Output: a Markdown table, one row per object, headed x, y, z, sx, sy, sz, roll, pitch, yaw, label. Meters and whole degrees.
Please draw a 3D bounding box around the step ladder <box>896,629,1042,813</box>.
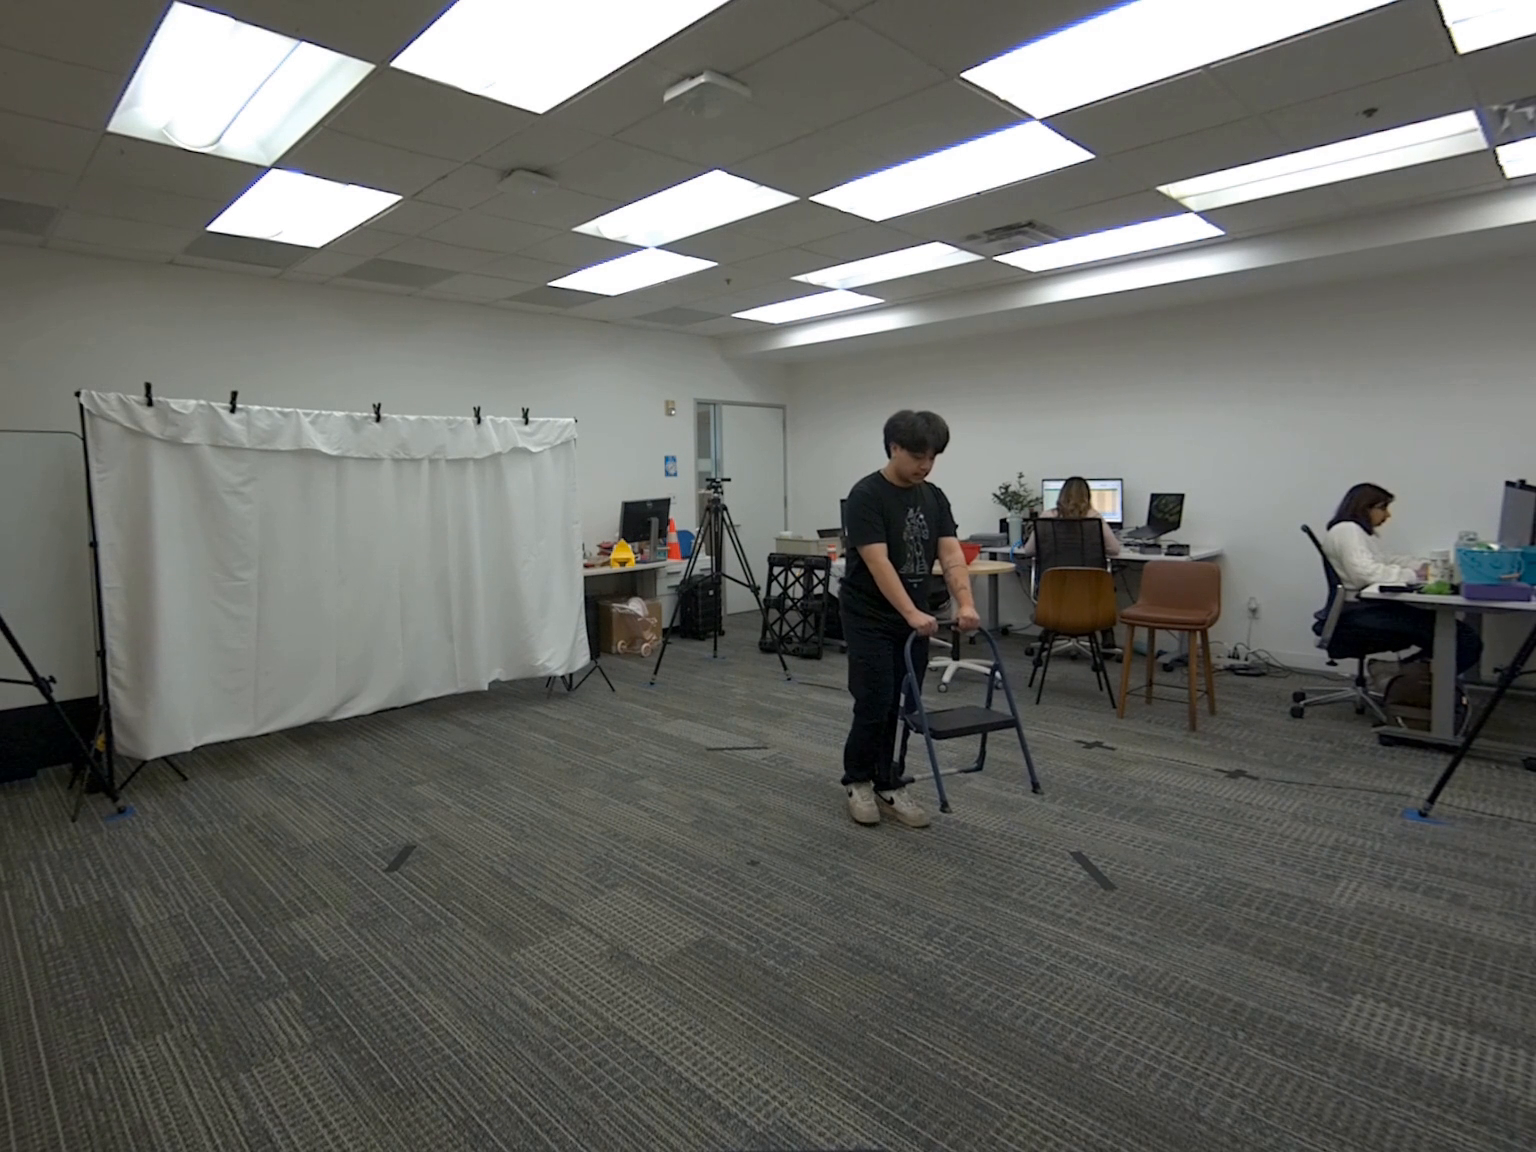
| x | y | z | sx | sy | sz | roll | pitch | yaw | label |
| --- | --- | --- | --- | --- | --- | --- | --- | --- | --- |
| 0.704 | 0.481 | 3.104 | 0.422 | 0.605 | 0.357 | -3 | 1 | -25 | step ladder |
